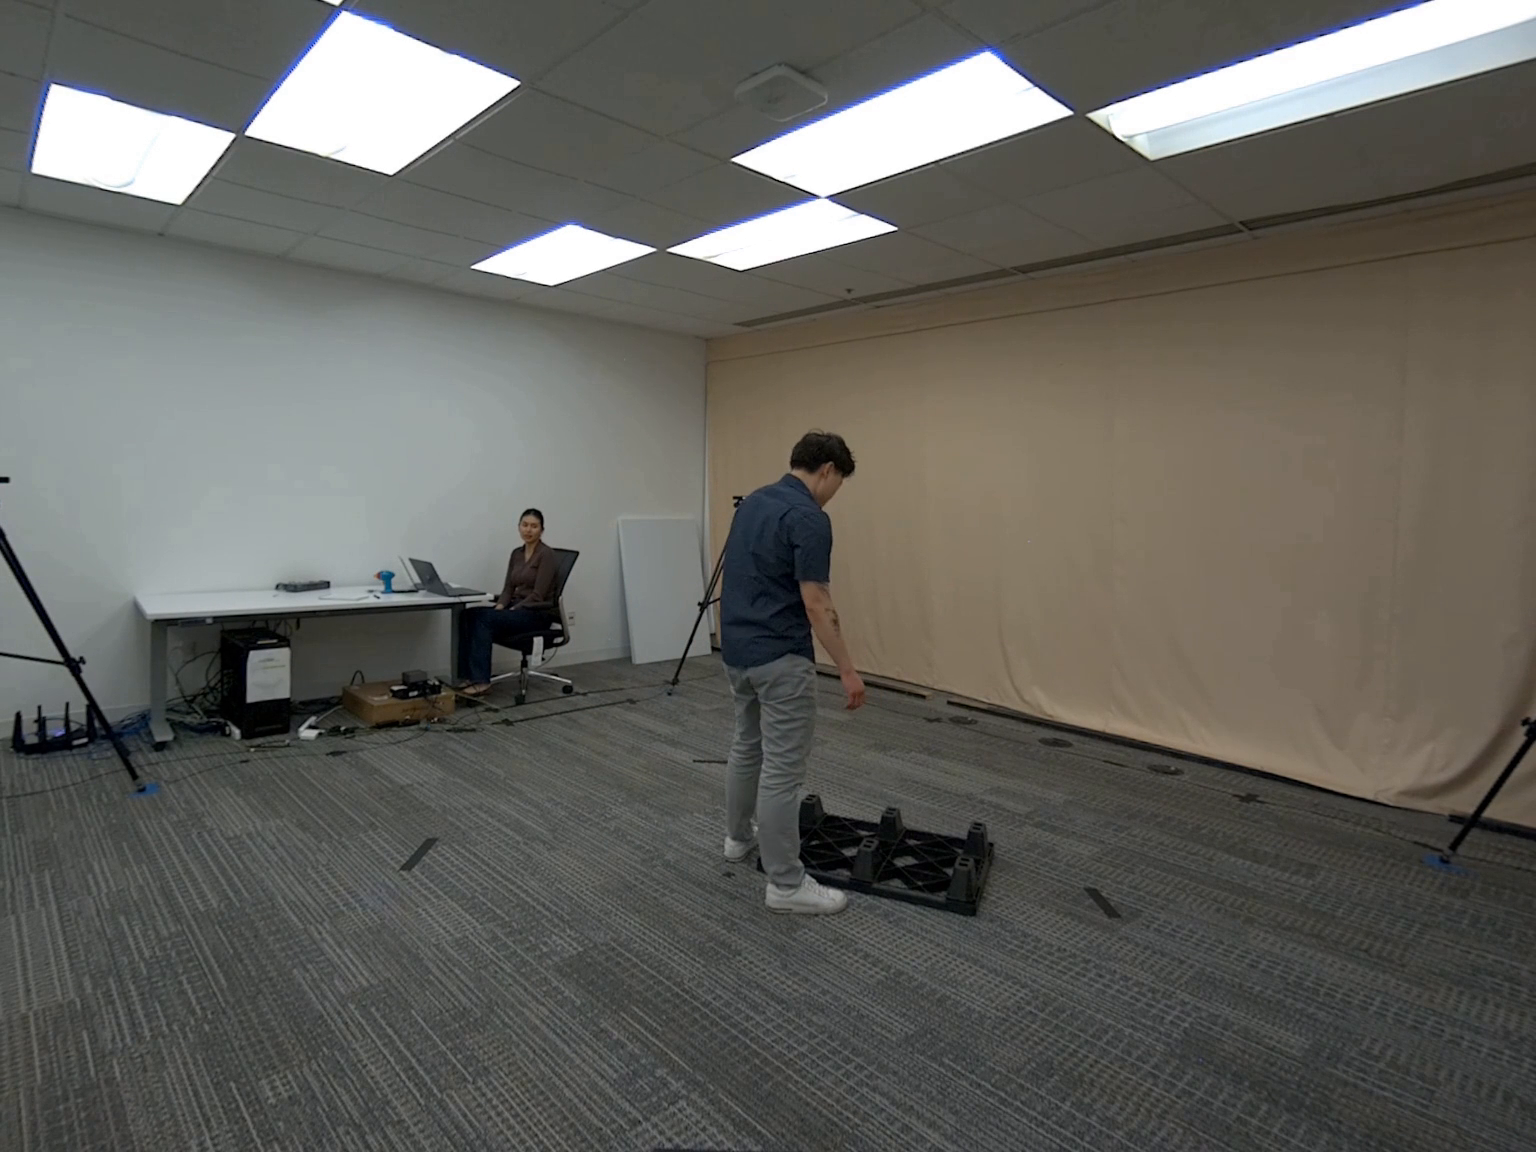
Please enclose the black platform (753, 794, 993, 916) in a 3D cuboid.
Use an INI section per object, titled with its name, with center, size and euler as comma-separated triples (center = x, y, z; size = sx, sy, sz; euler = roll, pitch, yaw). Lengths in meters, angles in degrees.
[black platform]
center = 0.428, 1.038, 3.257
size = 0.820, 0.143, 0.596
euler = 4, 6, 22
